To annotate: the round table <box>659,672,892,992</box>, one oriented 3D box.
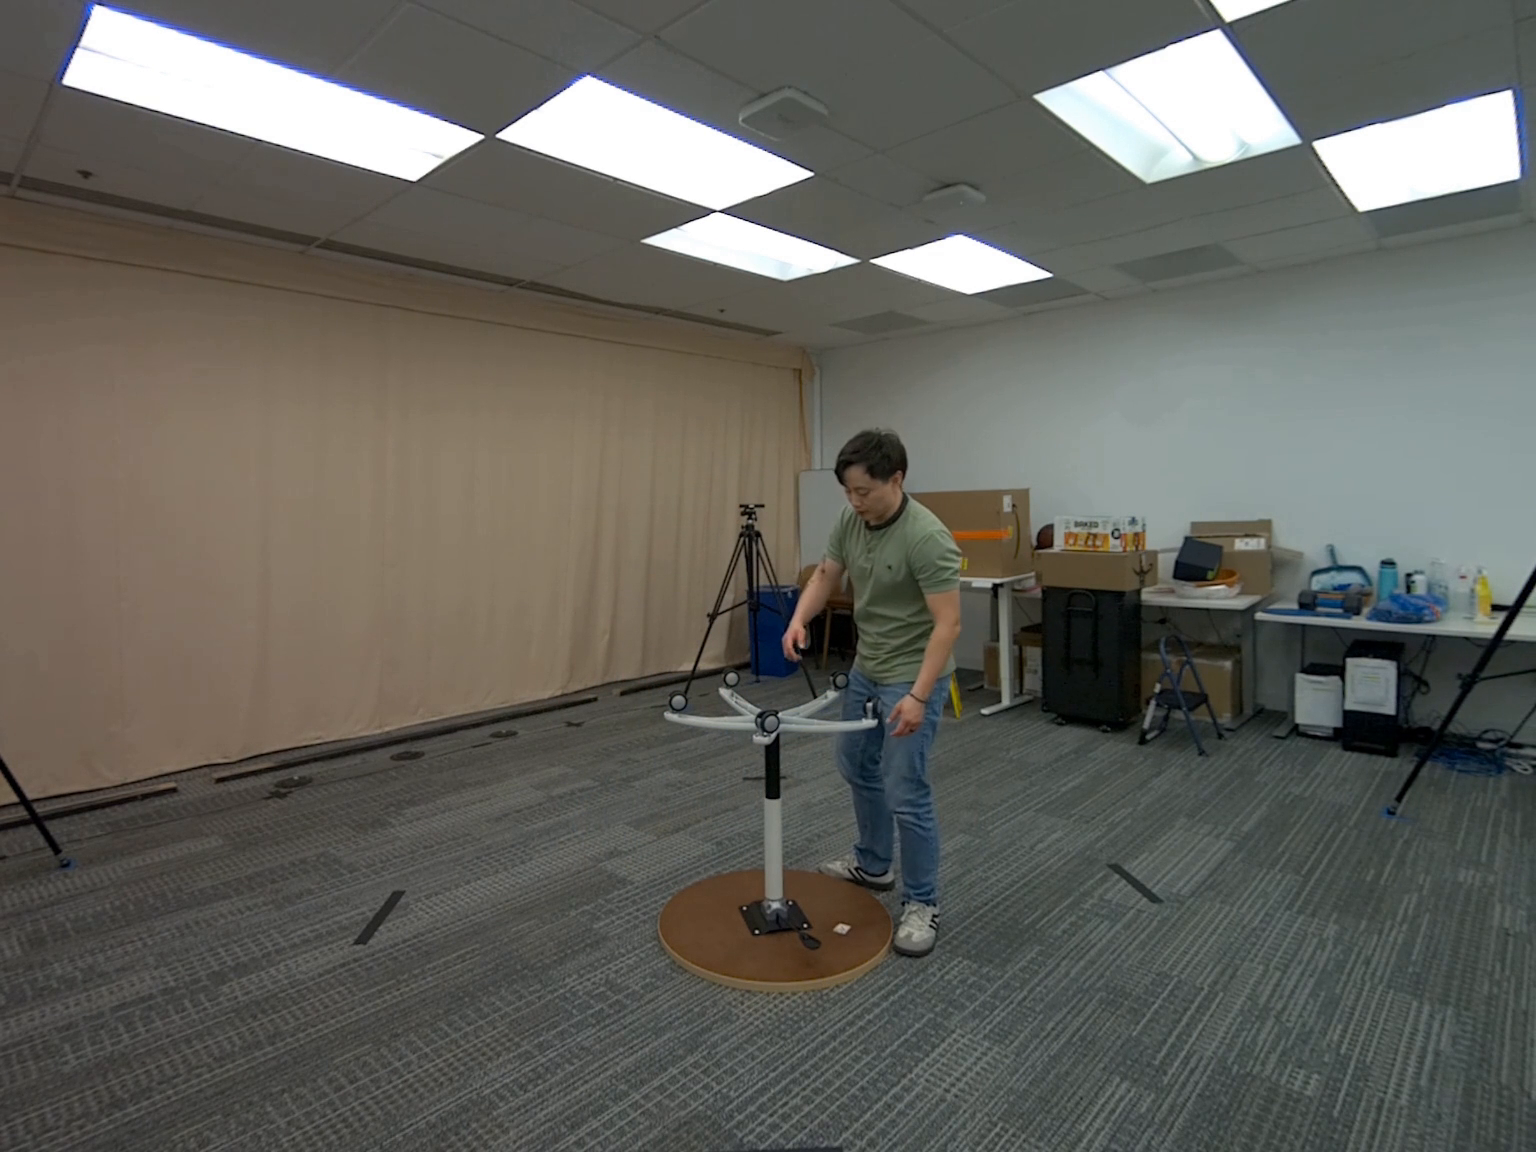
[{"bbox_3d":[0.017,0.764,2.751,0.763,0.792,0.767,-1,4,-2],"label":"round table"}]
